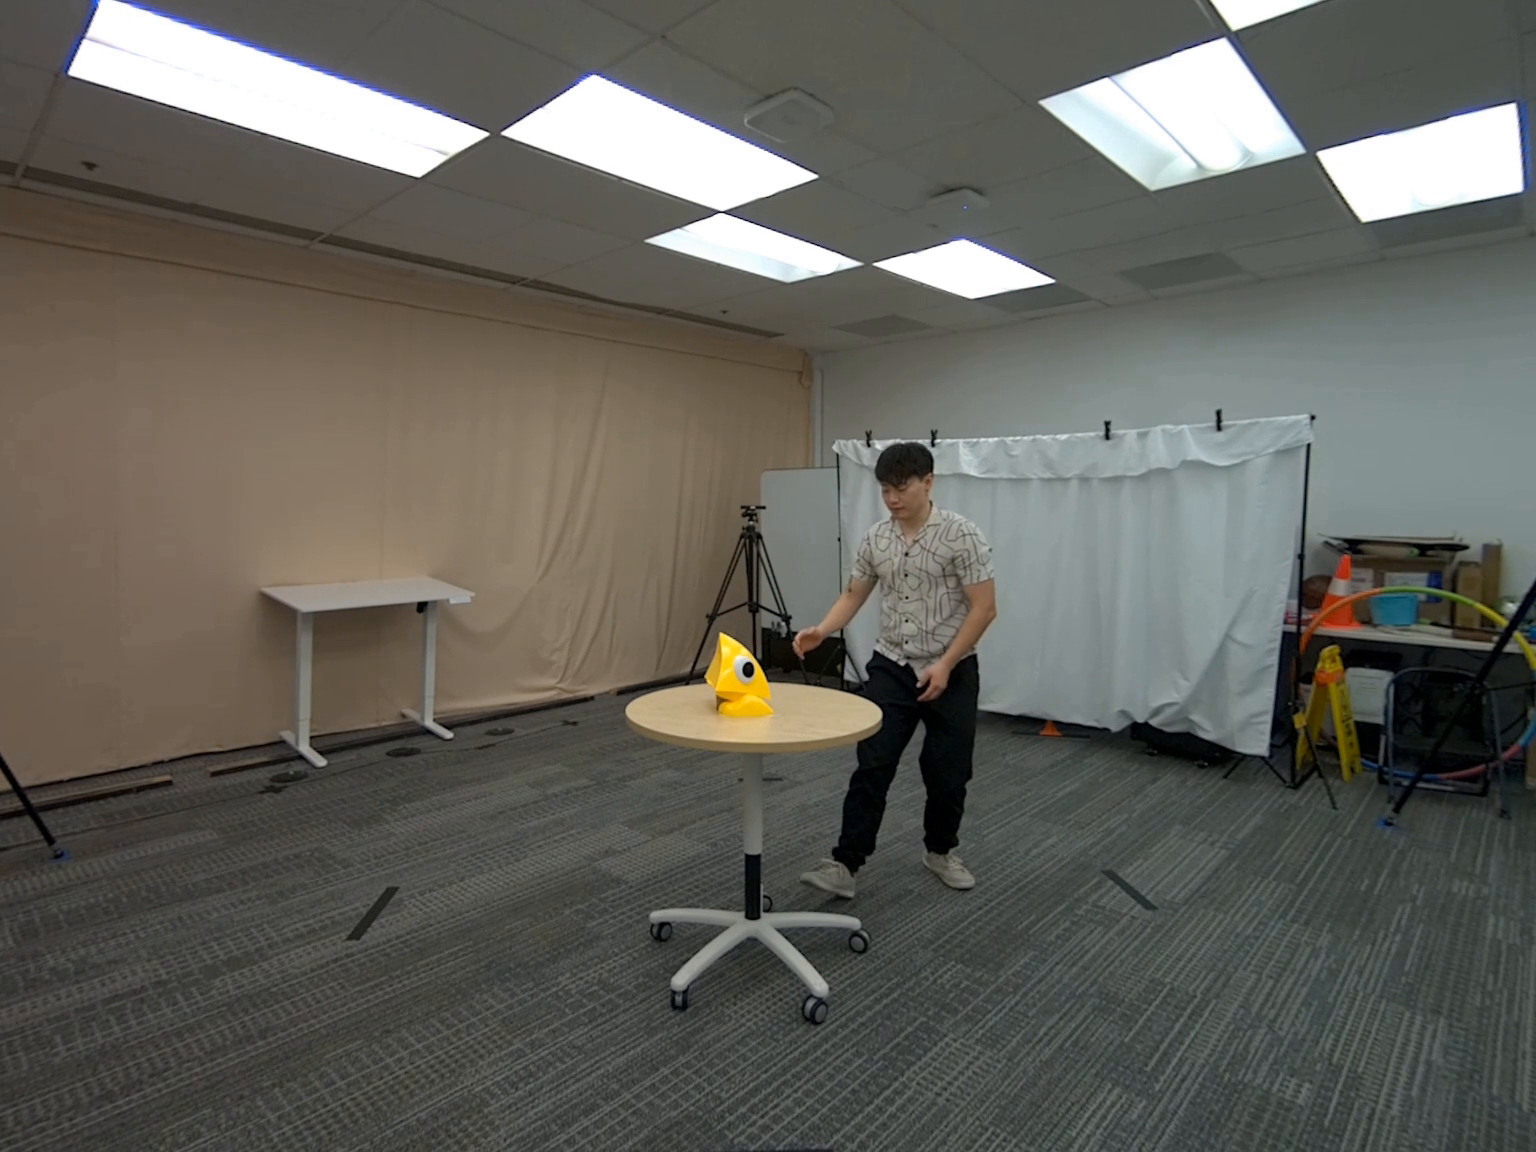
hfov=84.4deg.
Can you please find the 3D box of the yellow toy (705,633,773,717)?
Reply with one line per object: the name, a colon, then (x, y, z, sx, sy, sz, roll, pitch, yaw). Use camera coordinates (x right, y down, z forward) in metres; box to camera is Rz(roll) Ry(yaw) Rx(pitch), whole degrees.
yellow toy: (-0.082, 0.284, 2.524, 0.191, 0.230, 0.208, -1, 3, -12)
